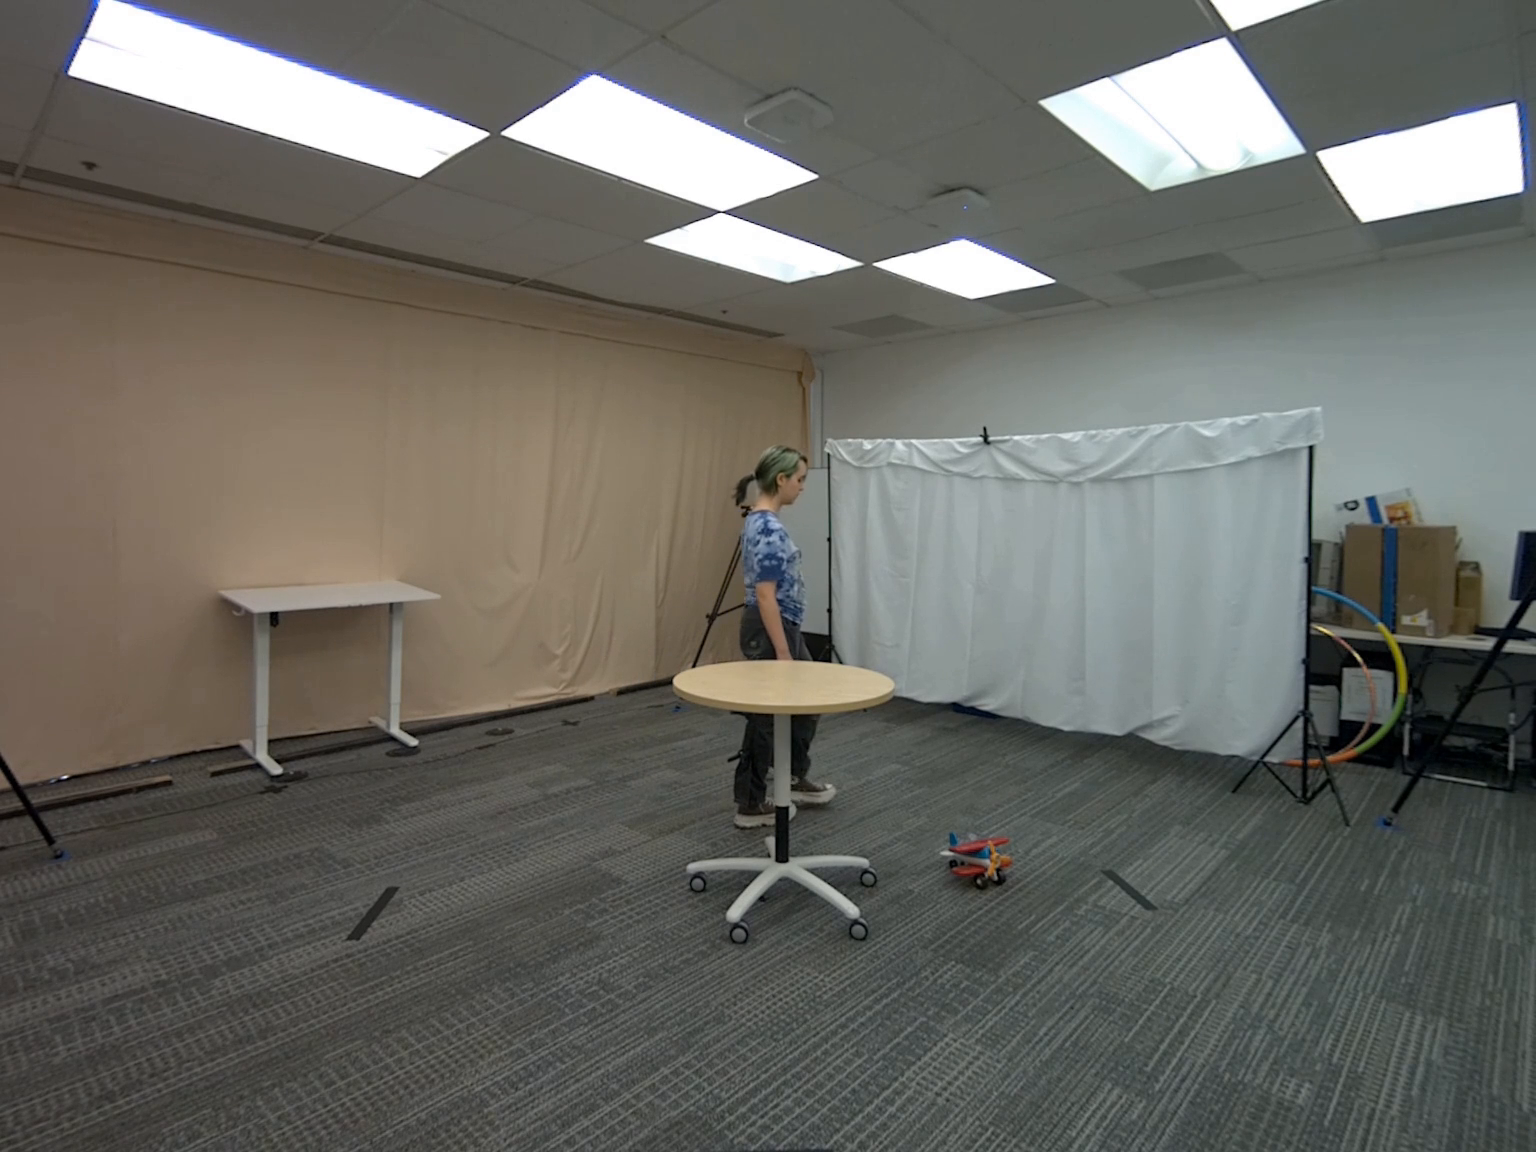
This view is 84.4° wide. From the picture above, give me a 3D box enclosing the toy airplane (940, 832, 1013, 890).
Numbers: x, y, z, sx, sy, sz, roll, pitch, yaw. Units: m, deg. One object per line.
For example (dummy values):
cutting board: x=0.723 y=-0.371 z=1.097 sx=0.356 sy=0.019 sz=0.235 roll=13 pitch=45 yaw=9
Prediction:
toy airplane: x=0.759 y=1.054 z=3.139 sx=0.267 sy=0.156 sz=0.244 roll=5 pitch=5 yaw=35
